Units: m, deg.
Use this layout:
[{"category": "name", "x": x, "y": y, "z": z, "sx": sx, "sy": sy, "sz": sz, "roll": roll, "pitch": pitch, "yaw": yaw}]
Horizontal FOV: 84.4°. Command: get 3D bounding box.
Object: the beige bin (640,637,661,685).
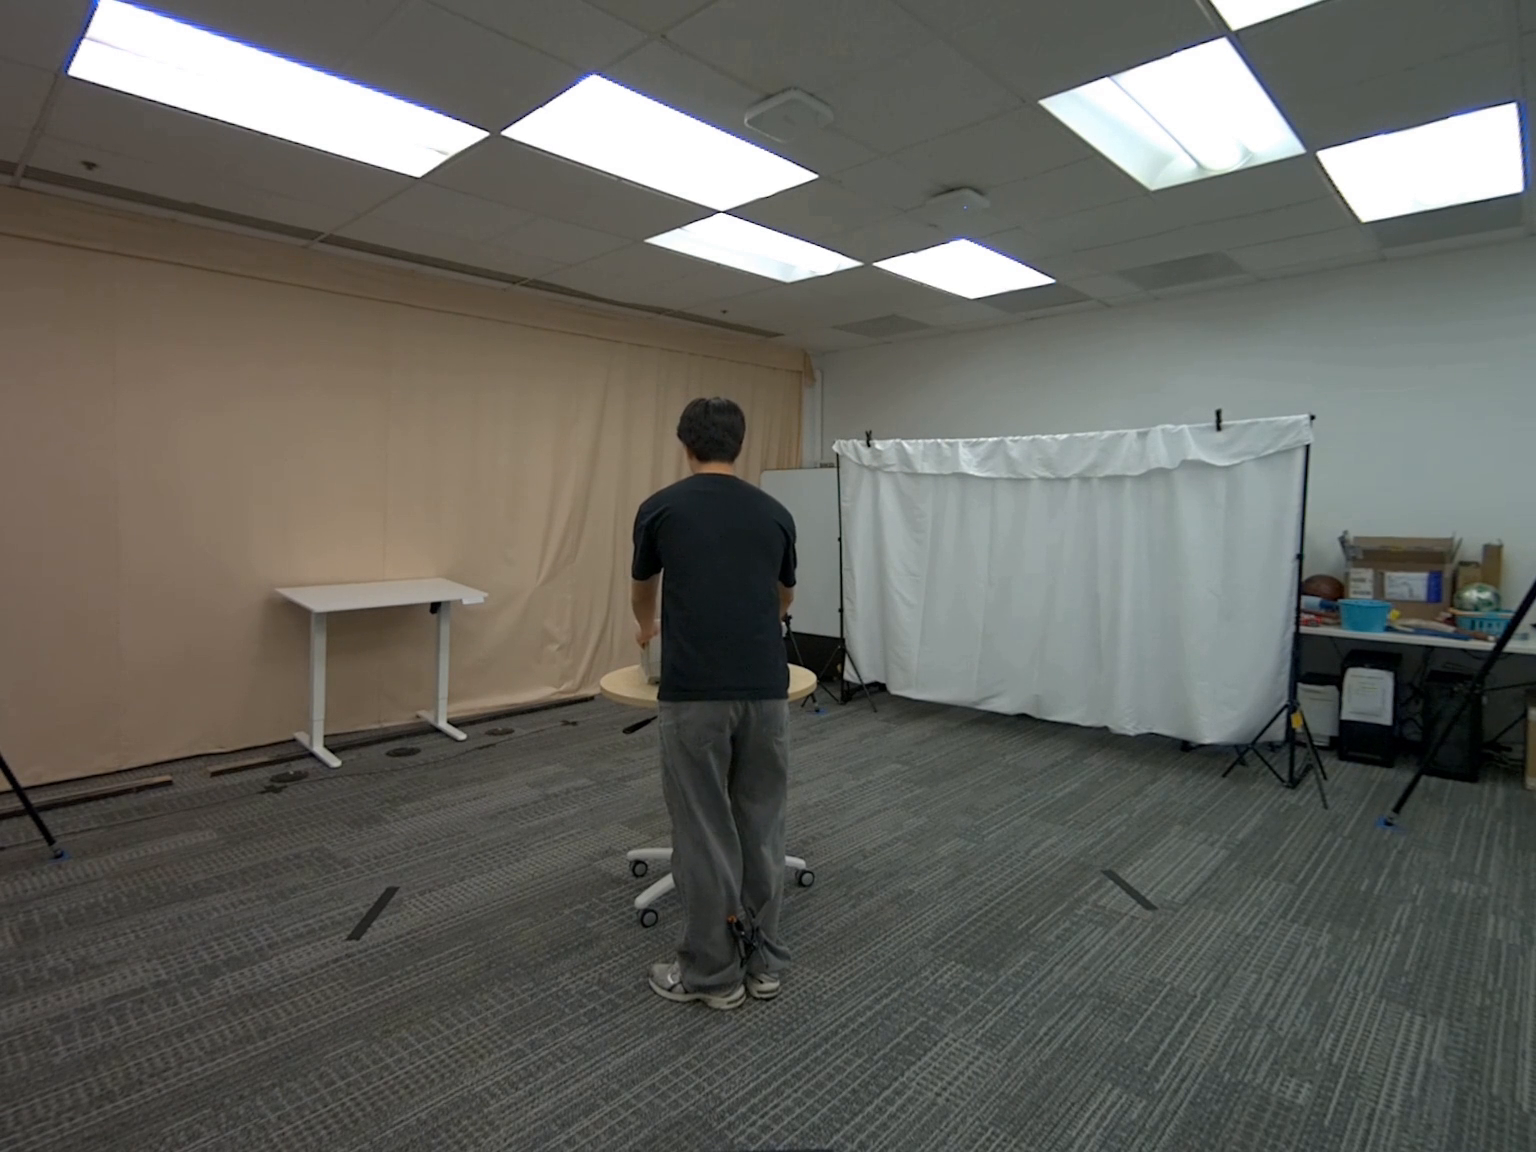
[{"category": "beige bin", "x": -0.254, "y": 0.269, "z": 3.058, "sx": 0.417, "sy": 0.188, "sz": 0.383, "roll": -2, "pitch": 5, "yaw": -13}]
